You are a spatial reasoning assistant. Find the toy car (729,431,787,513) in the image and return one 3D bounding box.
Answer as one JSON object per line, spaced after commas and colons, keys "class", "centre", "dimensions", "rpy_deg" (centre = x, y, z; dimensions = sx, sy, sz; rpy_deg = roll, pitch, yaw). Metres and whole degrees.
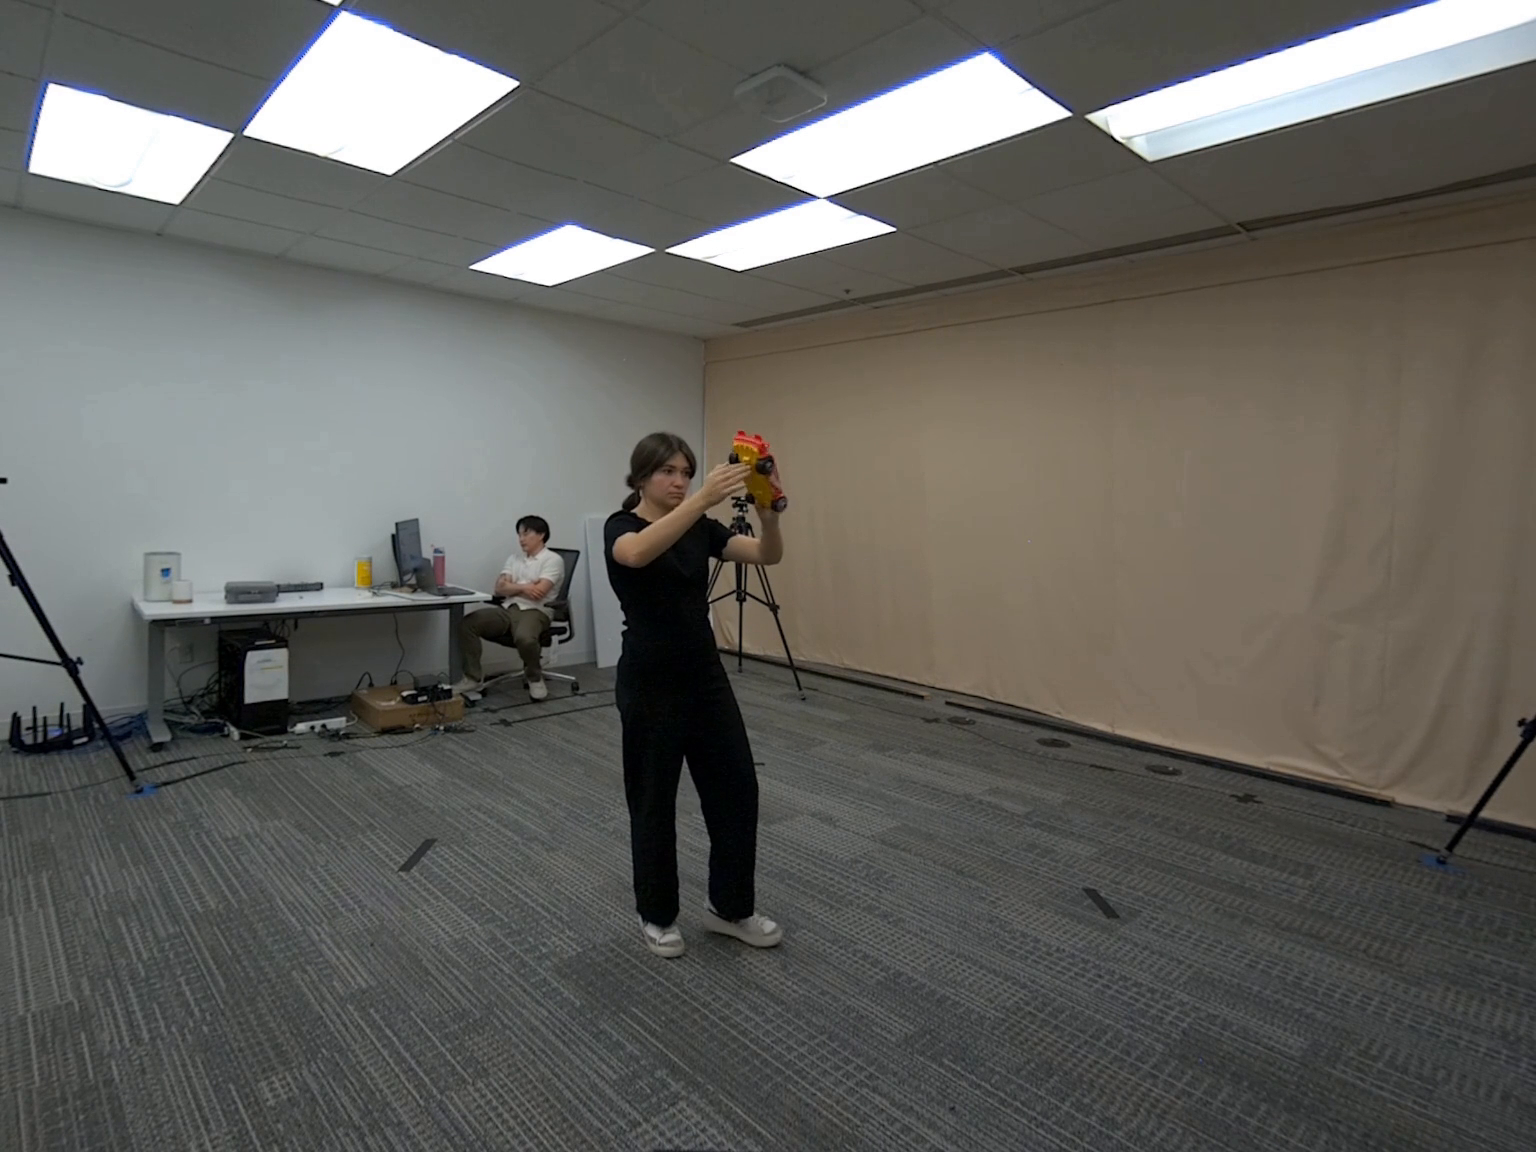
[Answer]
{"class": "toy car", "centre": [-0.033, -0.265, 2.194], "dimensions": [0.134, 0.248, 0.083], "rpy_deg": [21, 48, 33]}
